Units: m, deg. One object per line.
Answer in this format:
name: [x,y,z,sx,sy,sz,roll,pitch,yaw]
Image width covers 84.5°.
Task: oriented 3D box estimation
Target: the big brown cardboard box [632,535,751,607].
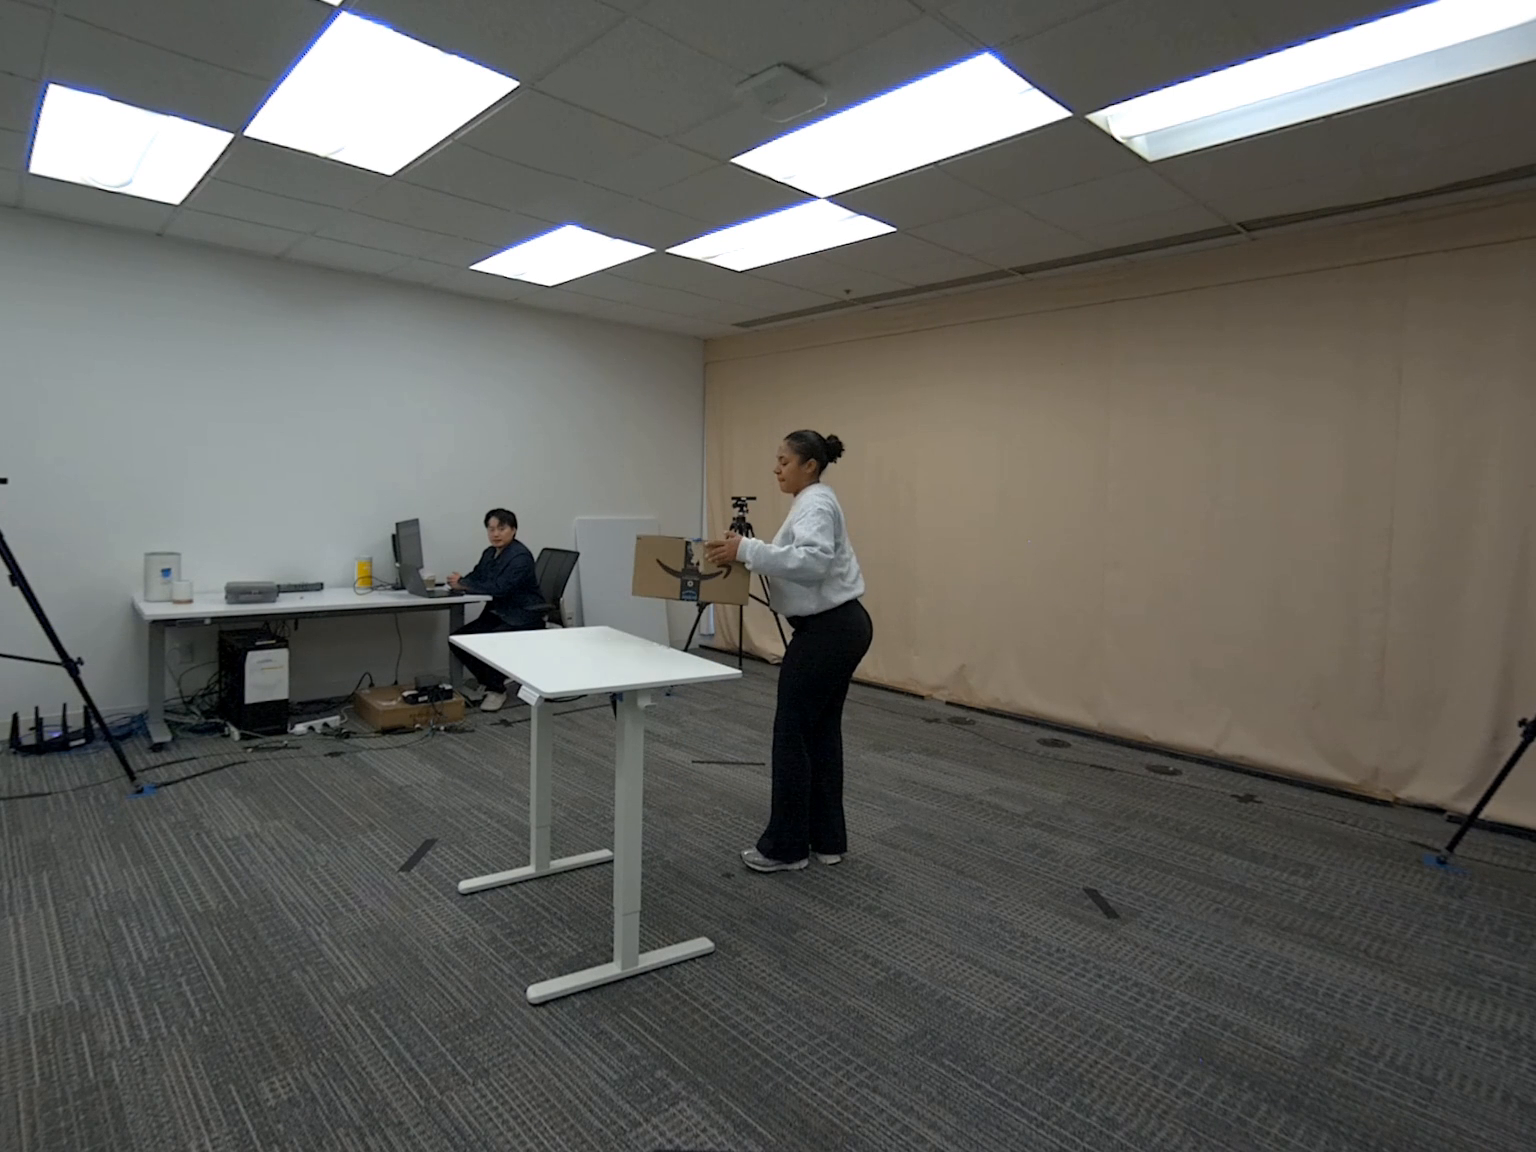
big brown cardboard box: [-0.286,-0.024,3.237,0.416,0.233,0.591,4,2,-4]
